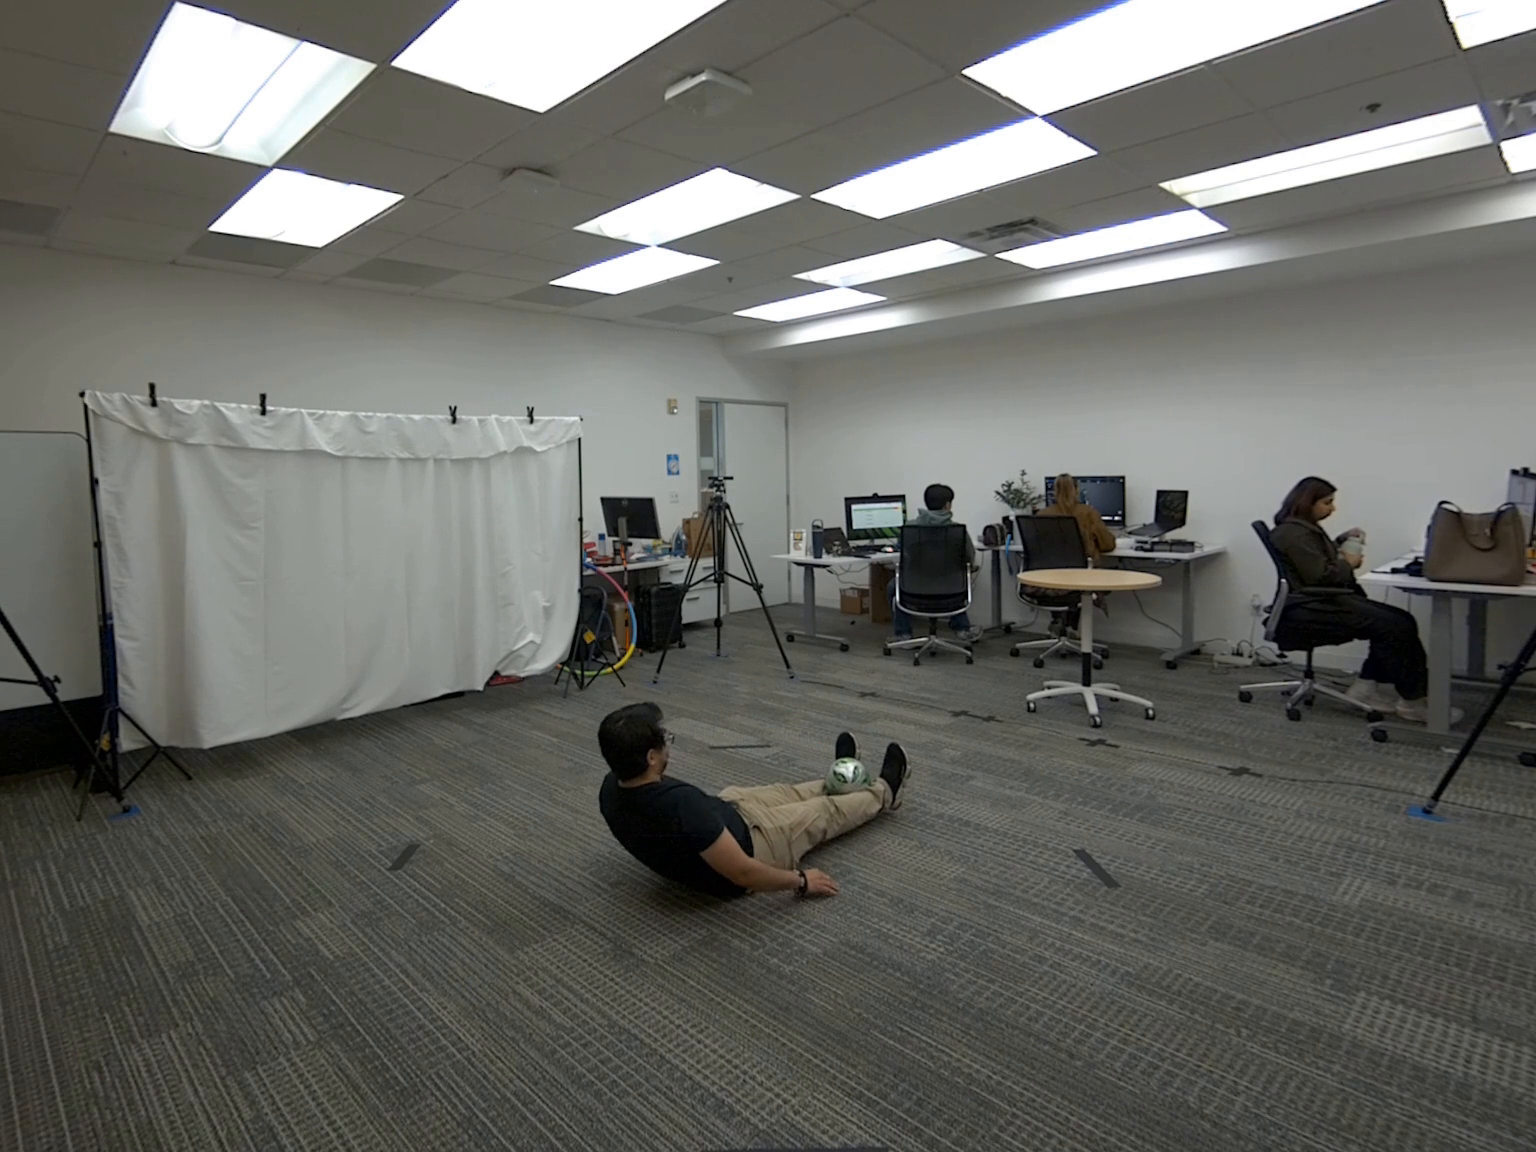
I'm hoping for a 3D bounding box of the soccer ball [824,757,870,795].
[{"bbox_3d":[0.332,0.839,3.492,0.187,0.187,0.188,-1,4,-2],"label":"soccer ball"}]
